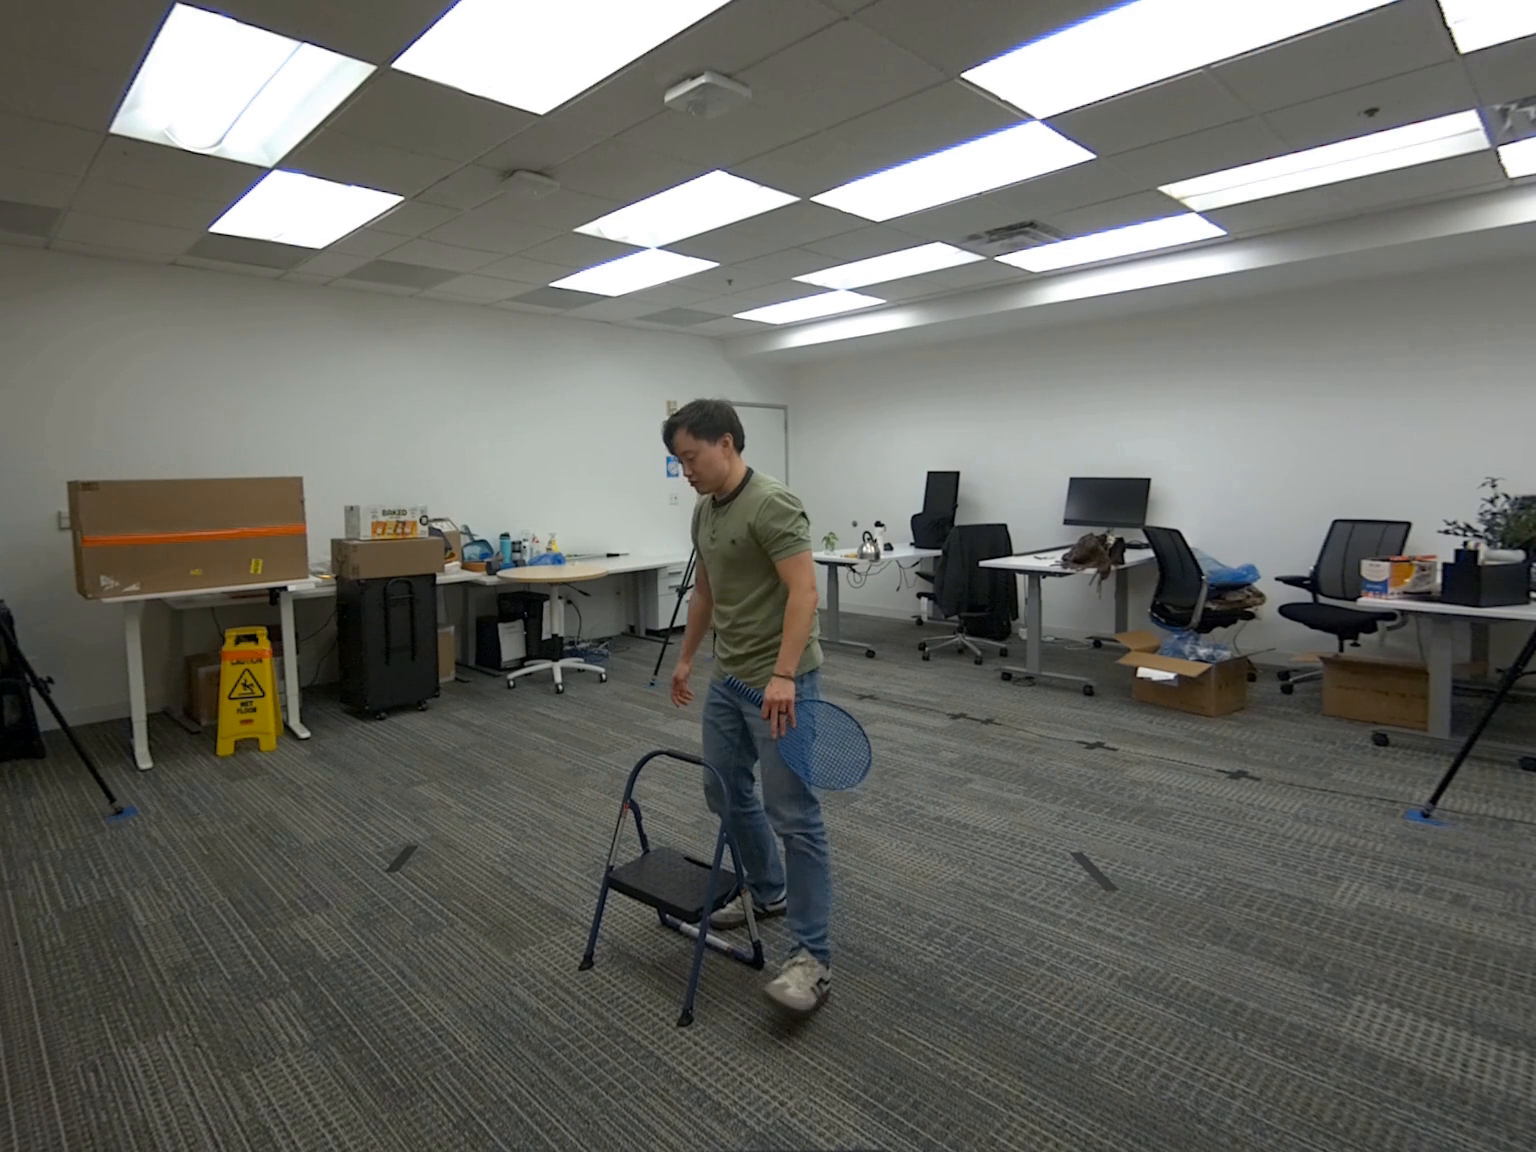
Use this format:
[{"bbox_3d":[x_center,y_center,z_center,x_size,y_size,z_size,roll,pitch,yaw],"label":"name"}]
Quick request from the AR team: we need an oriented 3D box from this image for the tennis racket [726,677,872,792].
[{"bbox_3d":[0.074,0.397,2.240,0.436,0.215,0.031,29,-25,5],"label":"tennis racket"}]
